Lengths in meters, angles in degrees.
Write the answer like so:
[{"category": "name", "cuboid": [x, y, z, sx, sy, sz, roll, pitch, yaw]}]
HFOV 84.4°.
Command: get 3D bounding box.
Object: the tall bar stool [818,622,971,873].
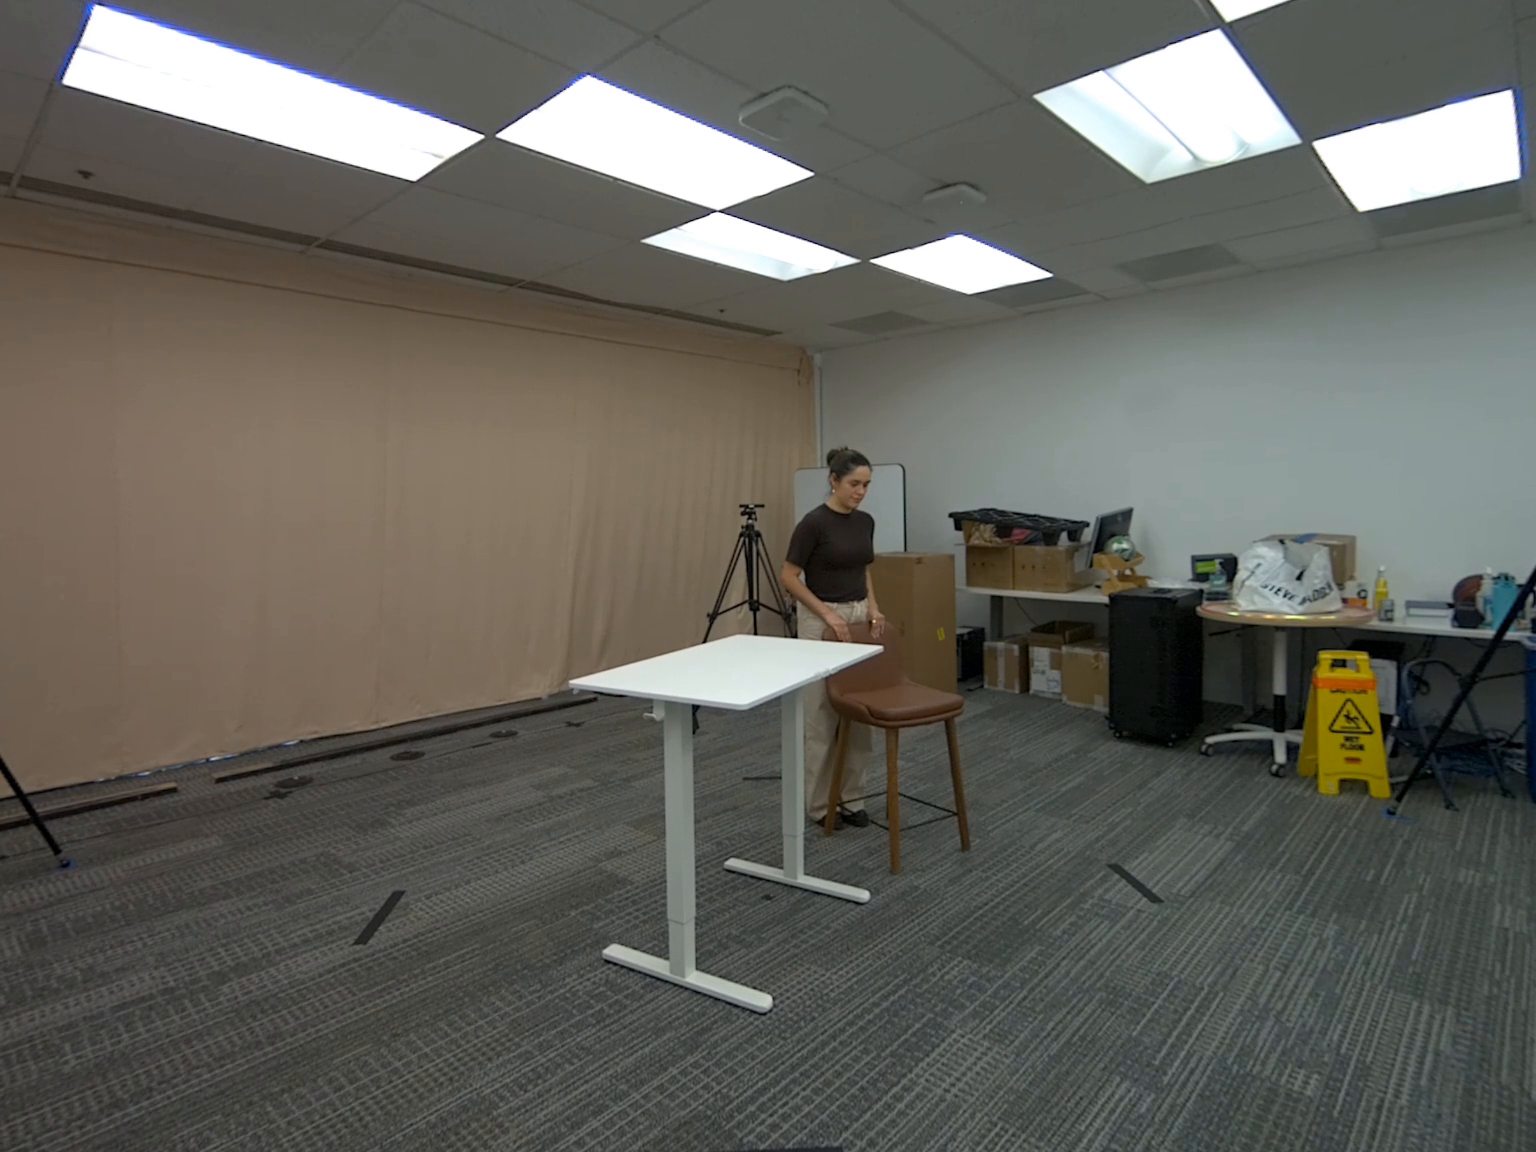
[{"category": "tall bar stool", "cuboid": [0.513, 0.652, 3.429, 0.444, 0.888, 0.481, -3, 2, -33]}]
